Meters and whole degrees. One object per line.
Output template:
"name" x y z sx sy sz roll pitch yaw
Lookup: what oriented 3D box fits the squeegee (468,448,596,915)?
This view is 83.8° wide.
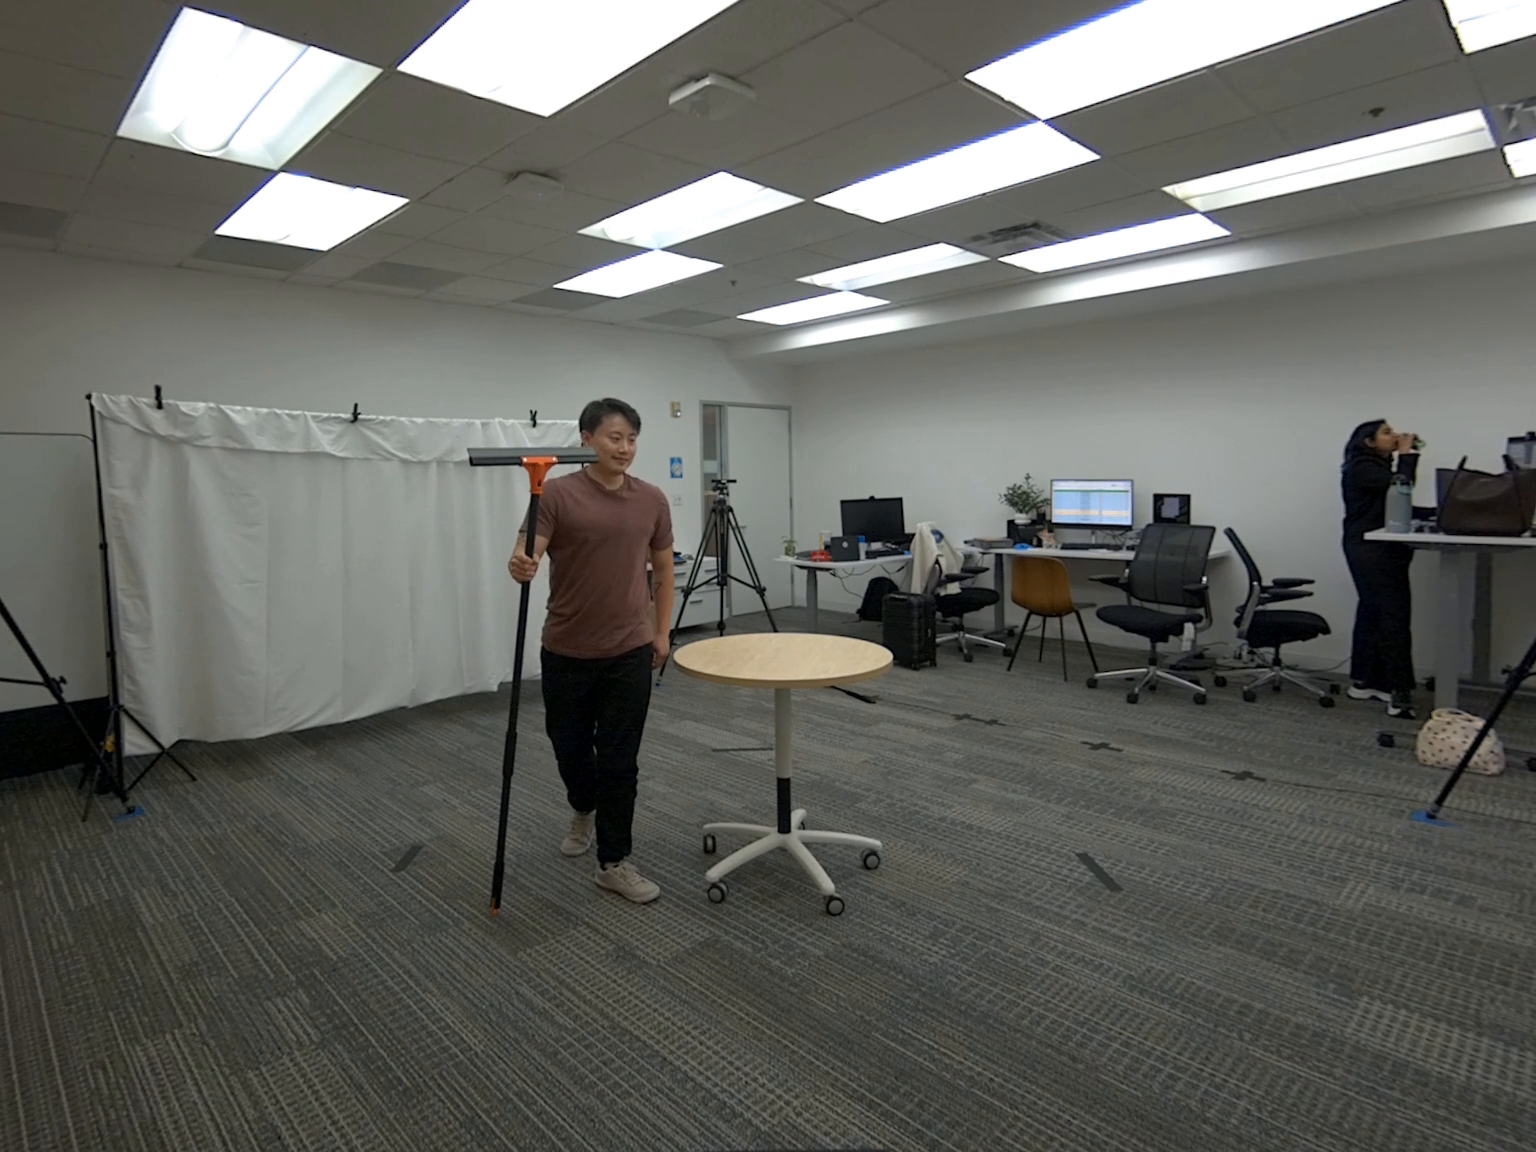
"squeegee" -0.761 0.366 2.606 0.055 1.521 0.426 21 19 39
